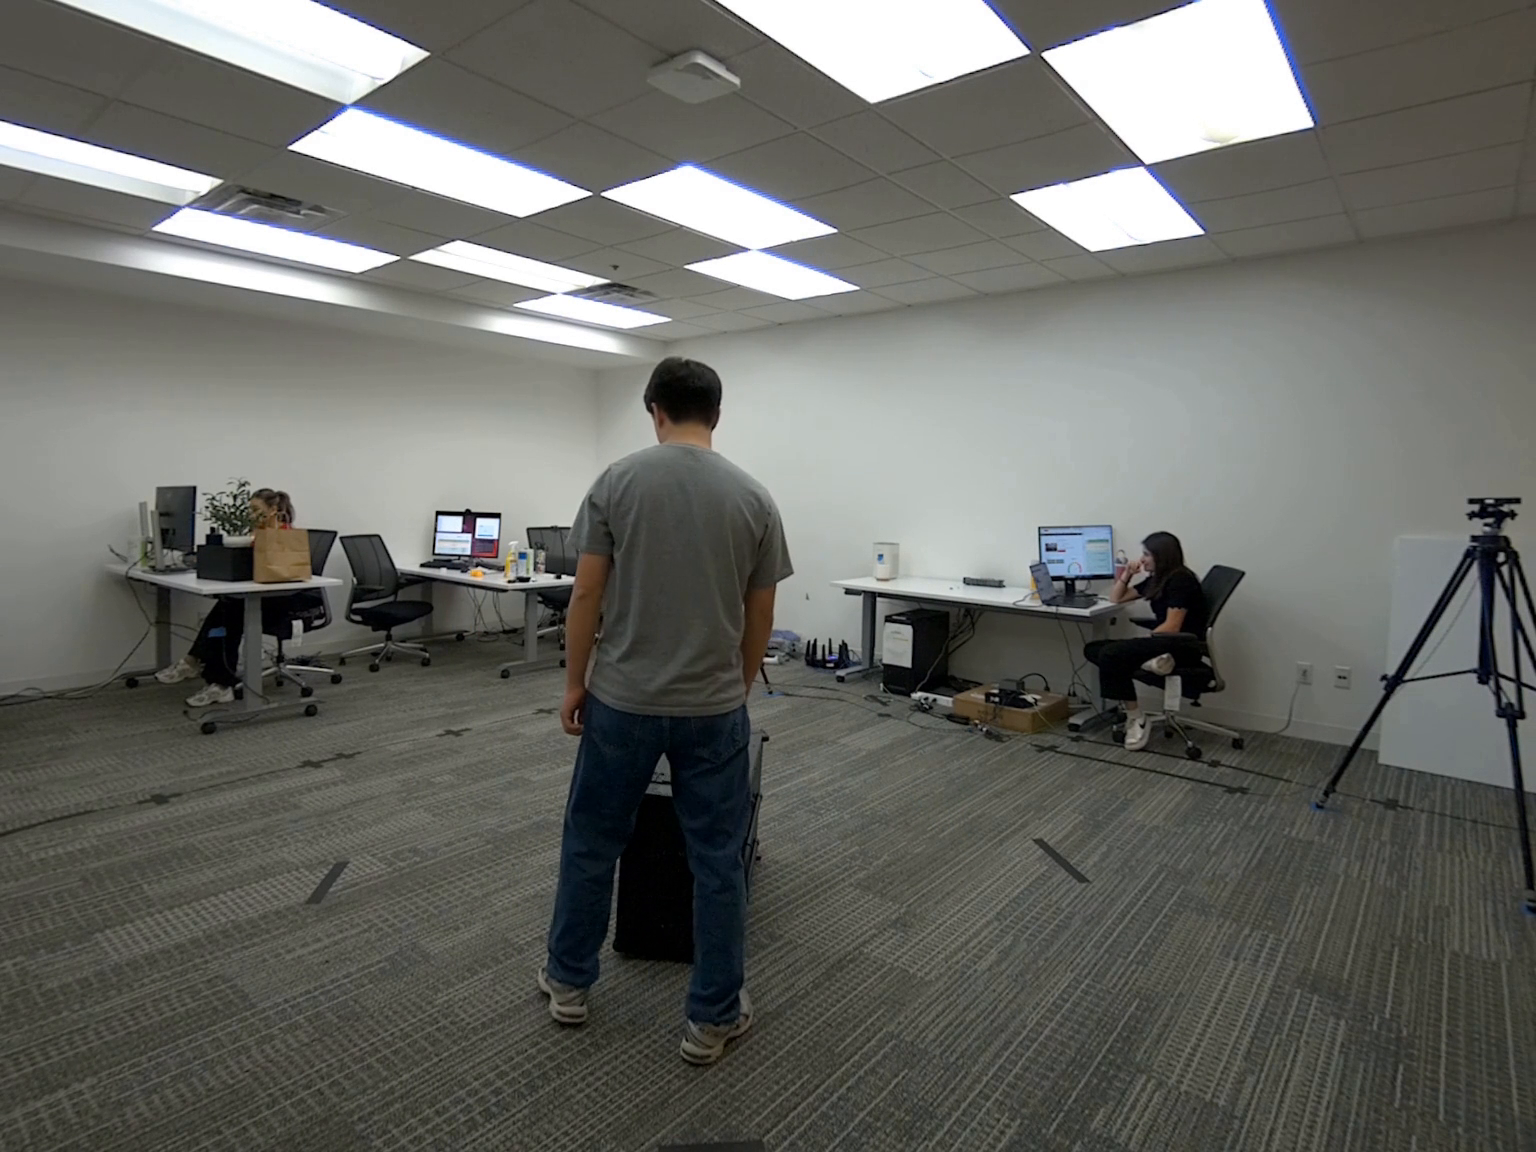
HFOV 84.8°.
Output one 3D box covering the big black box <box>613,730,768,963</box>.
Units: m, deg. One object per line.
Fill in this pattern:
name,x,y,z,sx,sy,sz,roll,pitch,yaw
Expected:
big black box,-0.234,0.841,2.820,0.399,0.519,0.858,3,6,5
